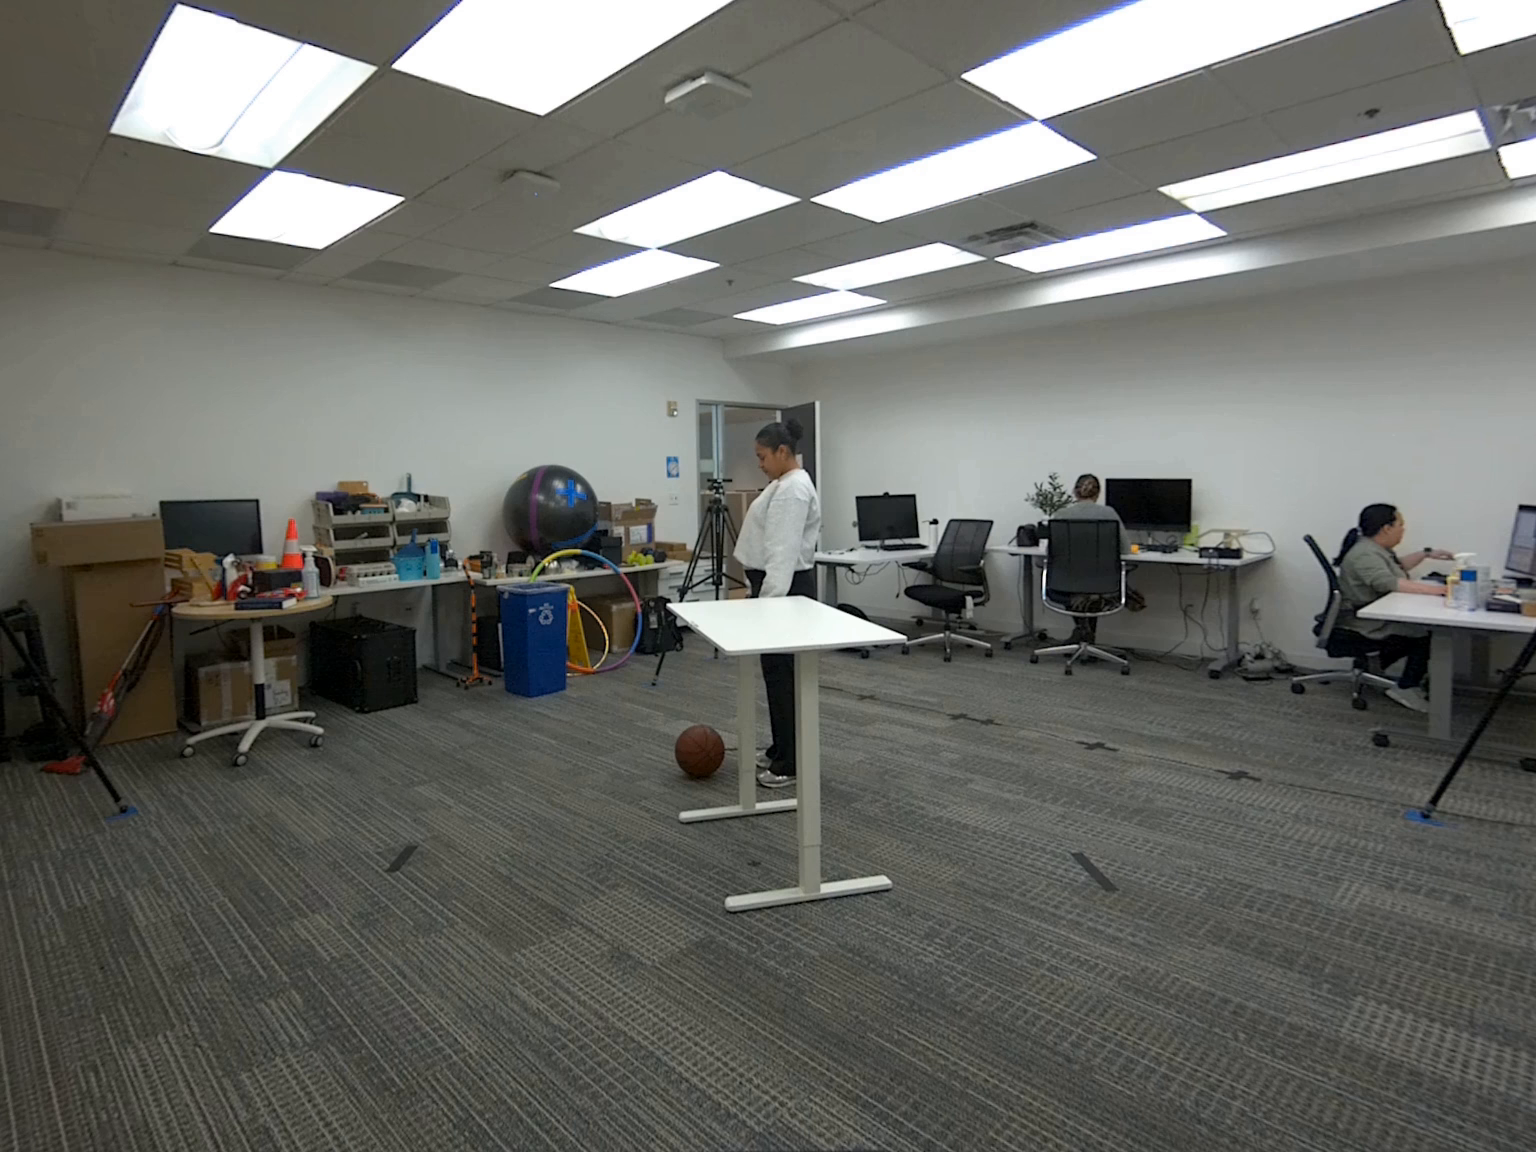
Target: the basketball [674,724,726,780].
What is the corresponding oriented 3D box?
[{"bbox_3d":[-0.319,0.827,4.047,0.236,0.235,0.237,-1,5,-2],"label":"basketball"}]
